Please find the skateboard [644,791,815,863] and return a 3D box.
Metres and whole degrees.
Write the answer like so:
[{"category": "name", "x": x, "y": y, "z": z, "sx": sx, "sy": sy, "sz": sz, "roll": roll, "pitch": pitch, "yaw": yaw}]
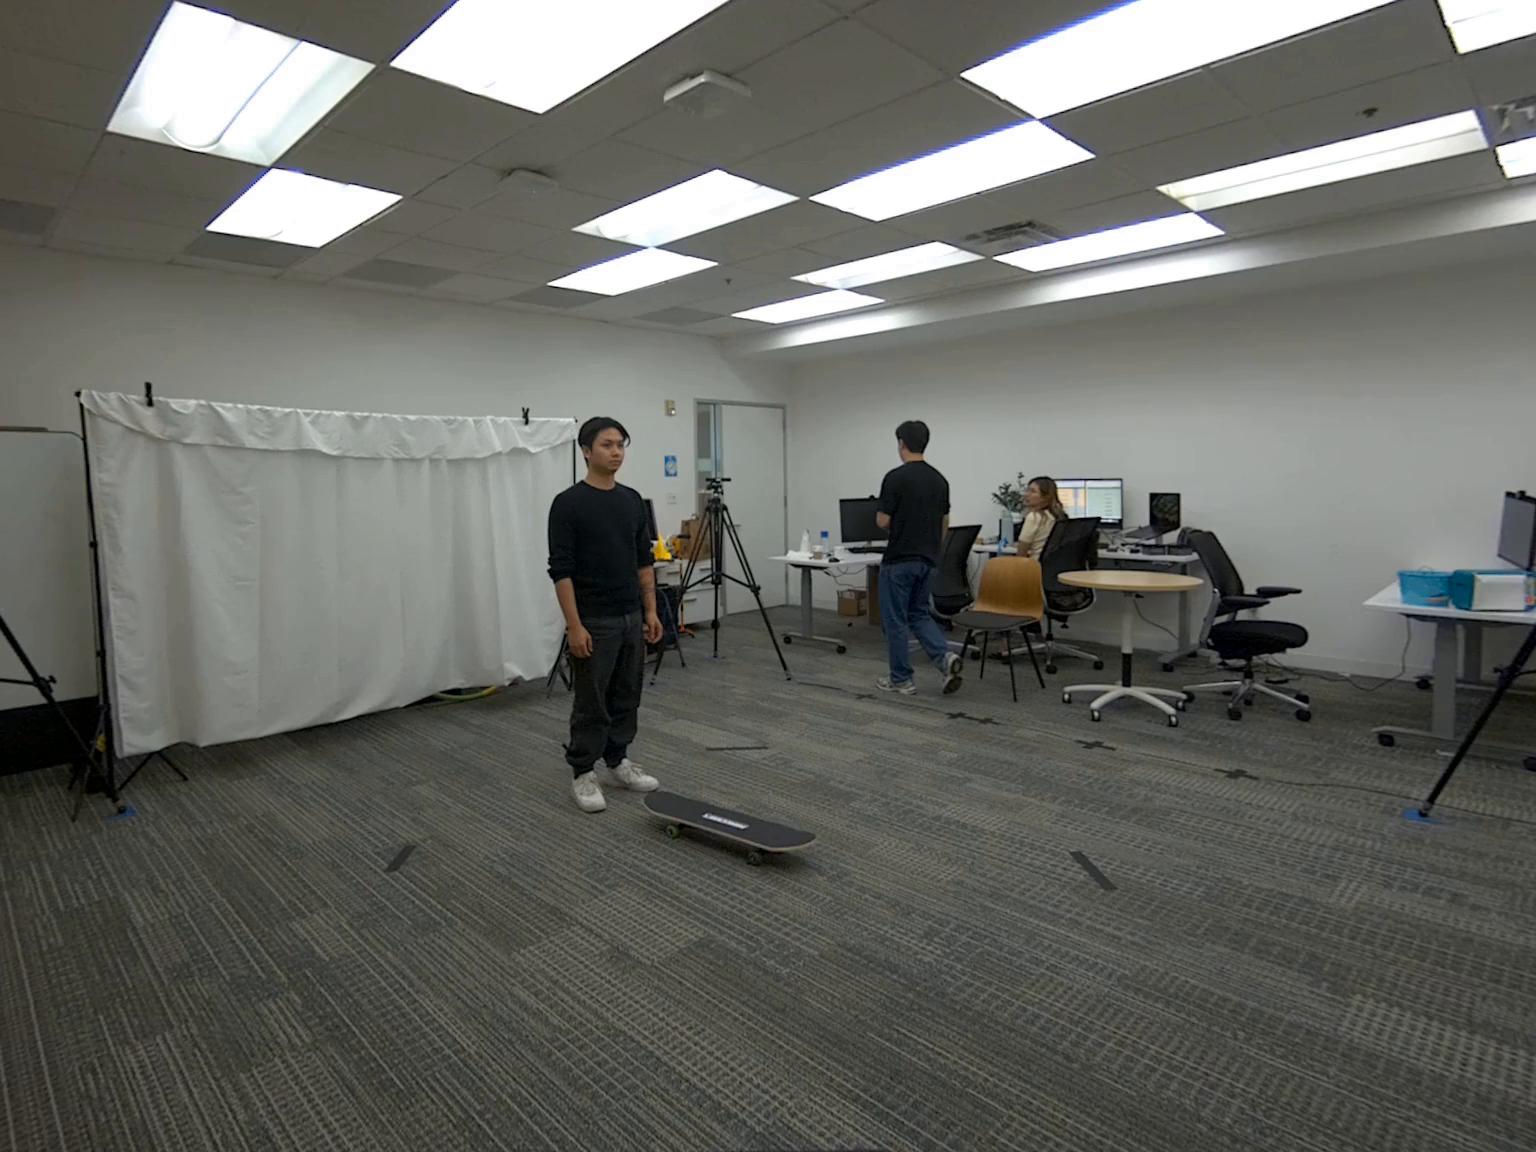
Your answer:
[{"category": "skateboard", "x": -0.161, "y": 0.969, "z": 3.272, "sx": 0.809, "sy": 0.110, "sz": 0.189, "roll": 4, "pitch": 8, "yaw": 37}]
